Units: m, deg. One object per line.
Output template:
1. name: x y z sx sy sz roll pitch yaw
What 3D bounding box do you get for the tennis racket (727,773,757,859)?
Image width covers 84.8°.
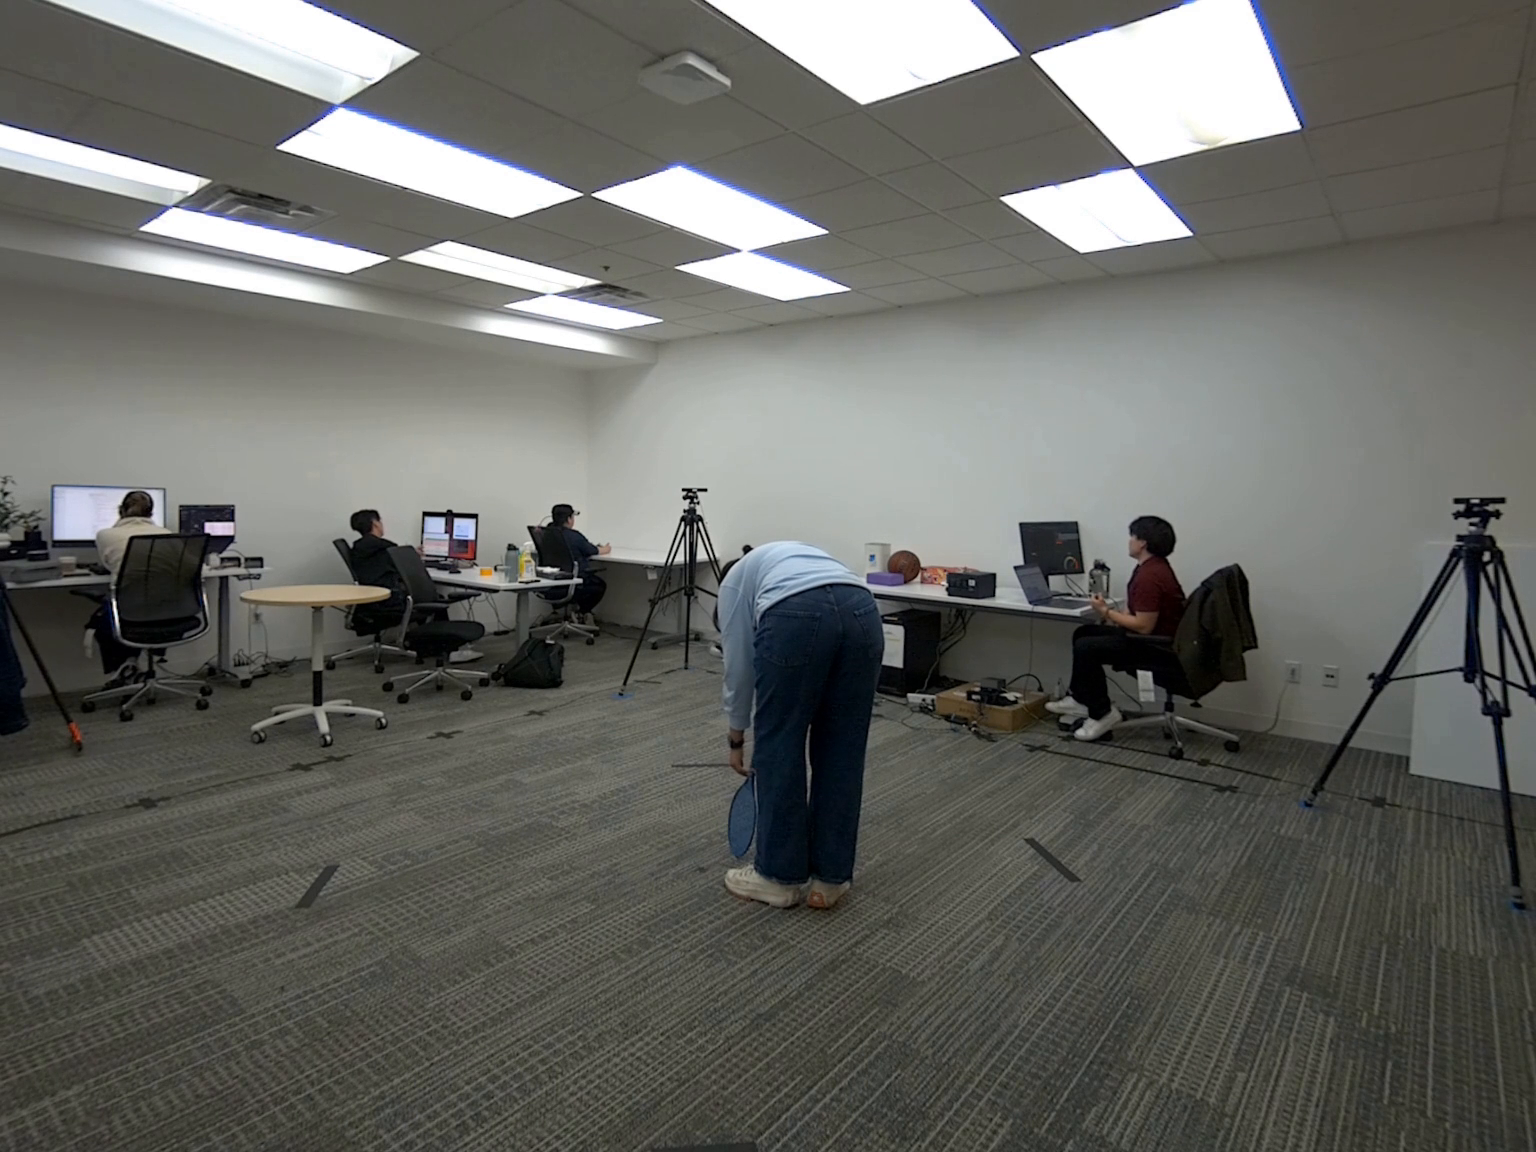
1. tennis racket: -0.089 0.850 3.228 0.031 0.431 0.220 12 6 -25
